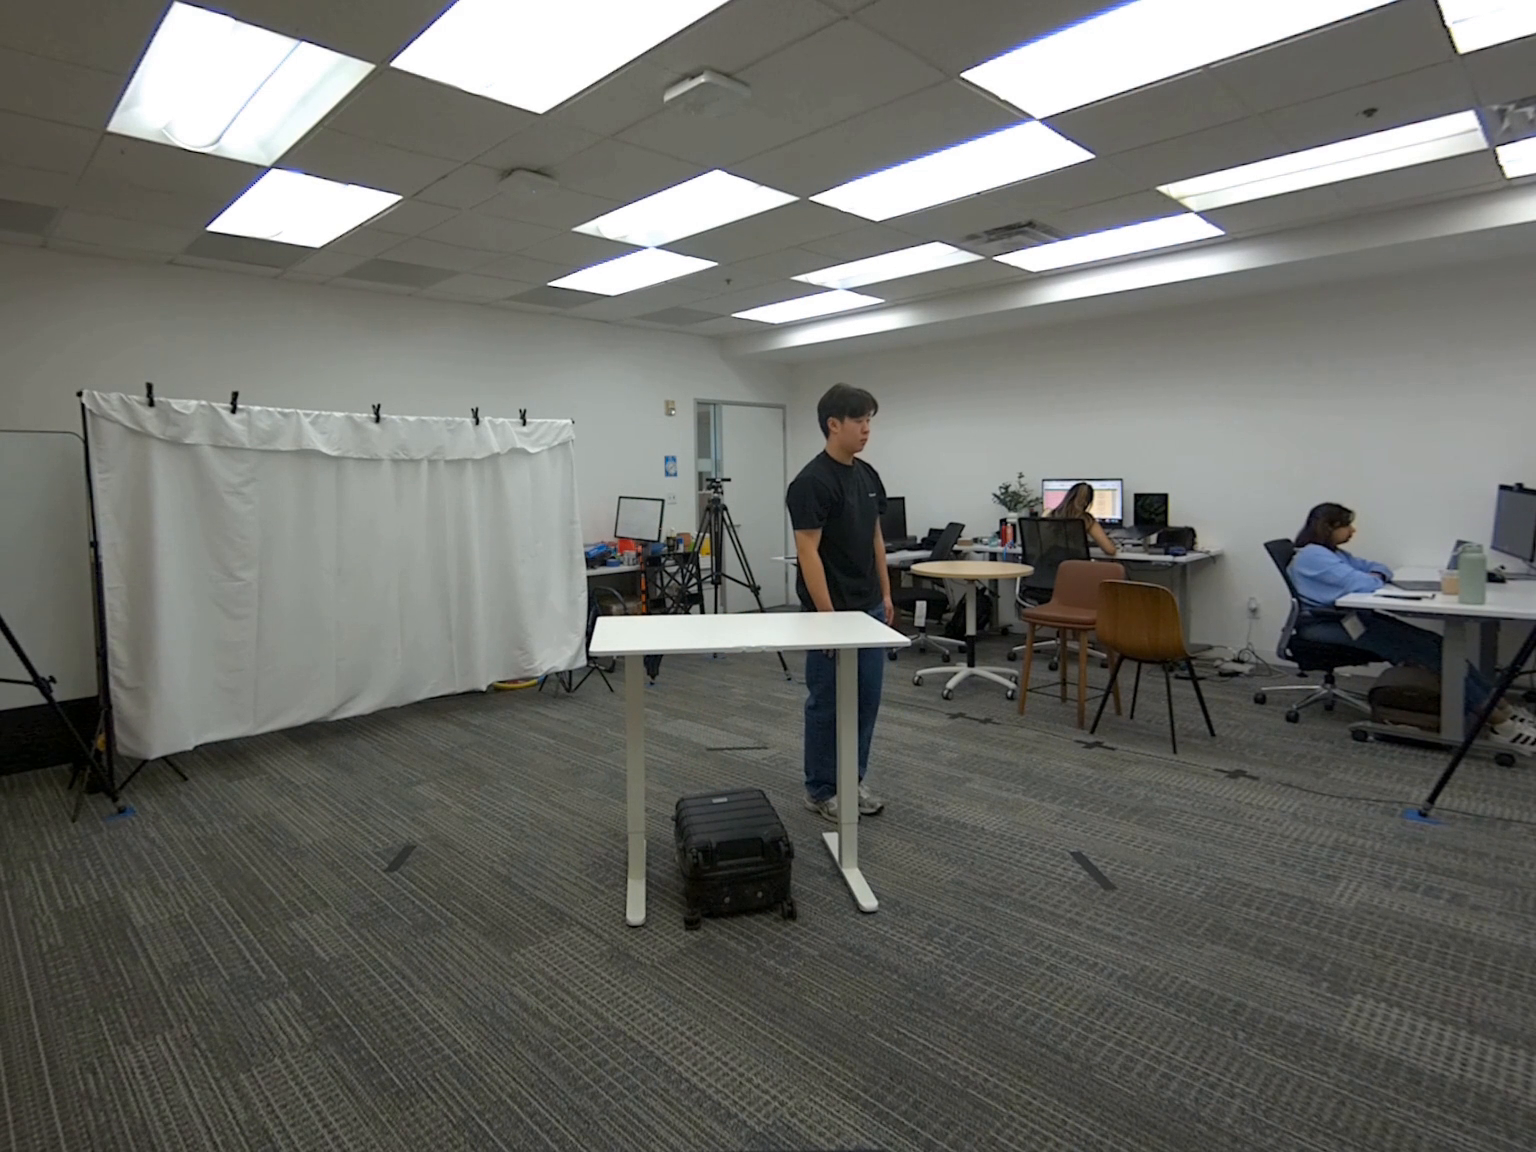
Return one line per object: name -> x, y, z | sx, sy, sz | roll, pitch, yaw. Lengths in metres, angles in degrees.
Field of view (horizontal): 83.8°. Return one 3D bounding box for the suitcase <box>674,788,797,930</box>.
suitcase -> -0.163, 0.911, 3.142 | 0.381, 0.255, 0.992 | -4, 7, -10
